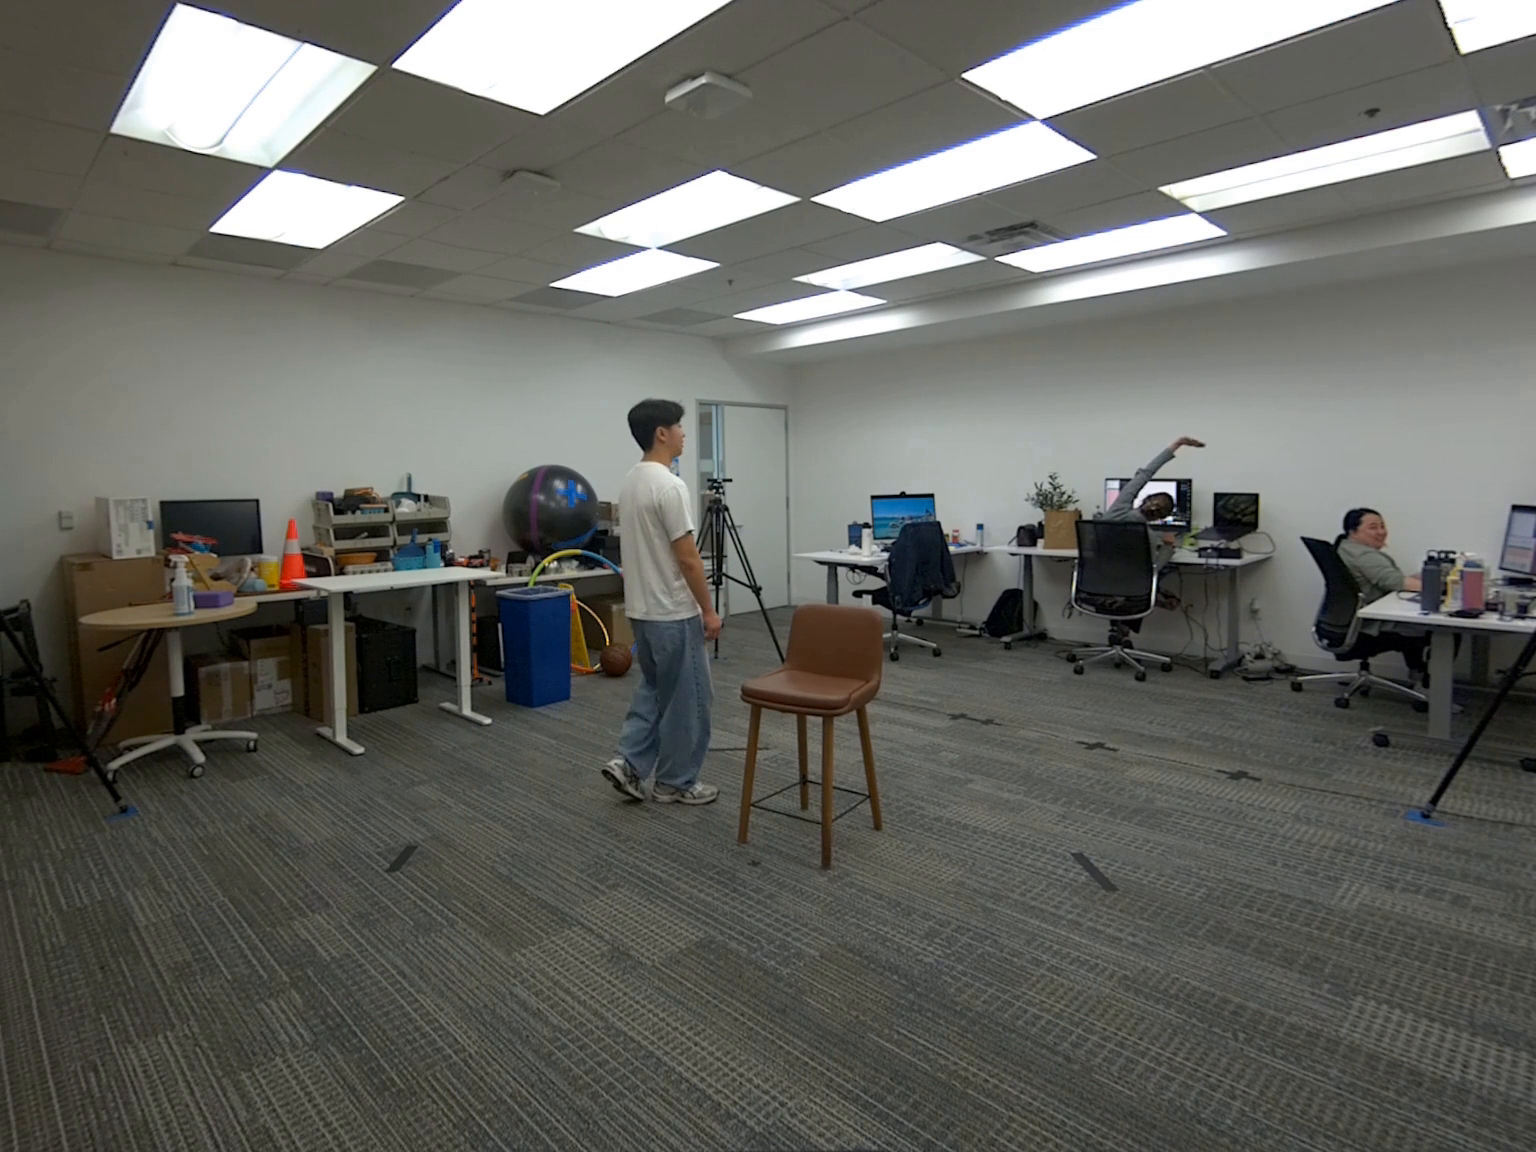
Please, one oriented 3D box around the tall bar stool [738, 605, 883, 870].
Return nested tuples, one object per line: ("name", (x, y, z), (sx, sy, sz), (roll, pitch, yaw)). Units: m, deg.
("tall bar stool", (0.180, 0.582, 3.315), (0.470, 0.888, 0.455), (3, 3, 37))
